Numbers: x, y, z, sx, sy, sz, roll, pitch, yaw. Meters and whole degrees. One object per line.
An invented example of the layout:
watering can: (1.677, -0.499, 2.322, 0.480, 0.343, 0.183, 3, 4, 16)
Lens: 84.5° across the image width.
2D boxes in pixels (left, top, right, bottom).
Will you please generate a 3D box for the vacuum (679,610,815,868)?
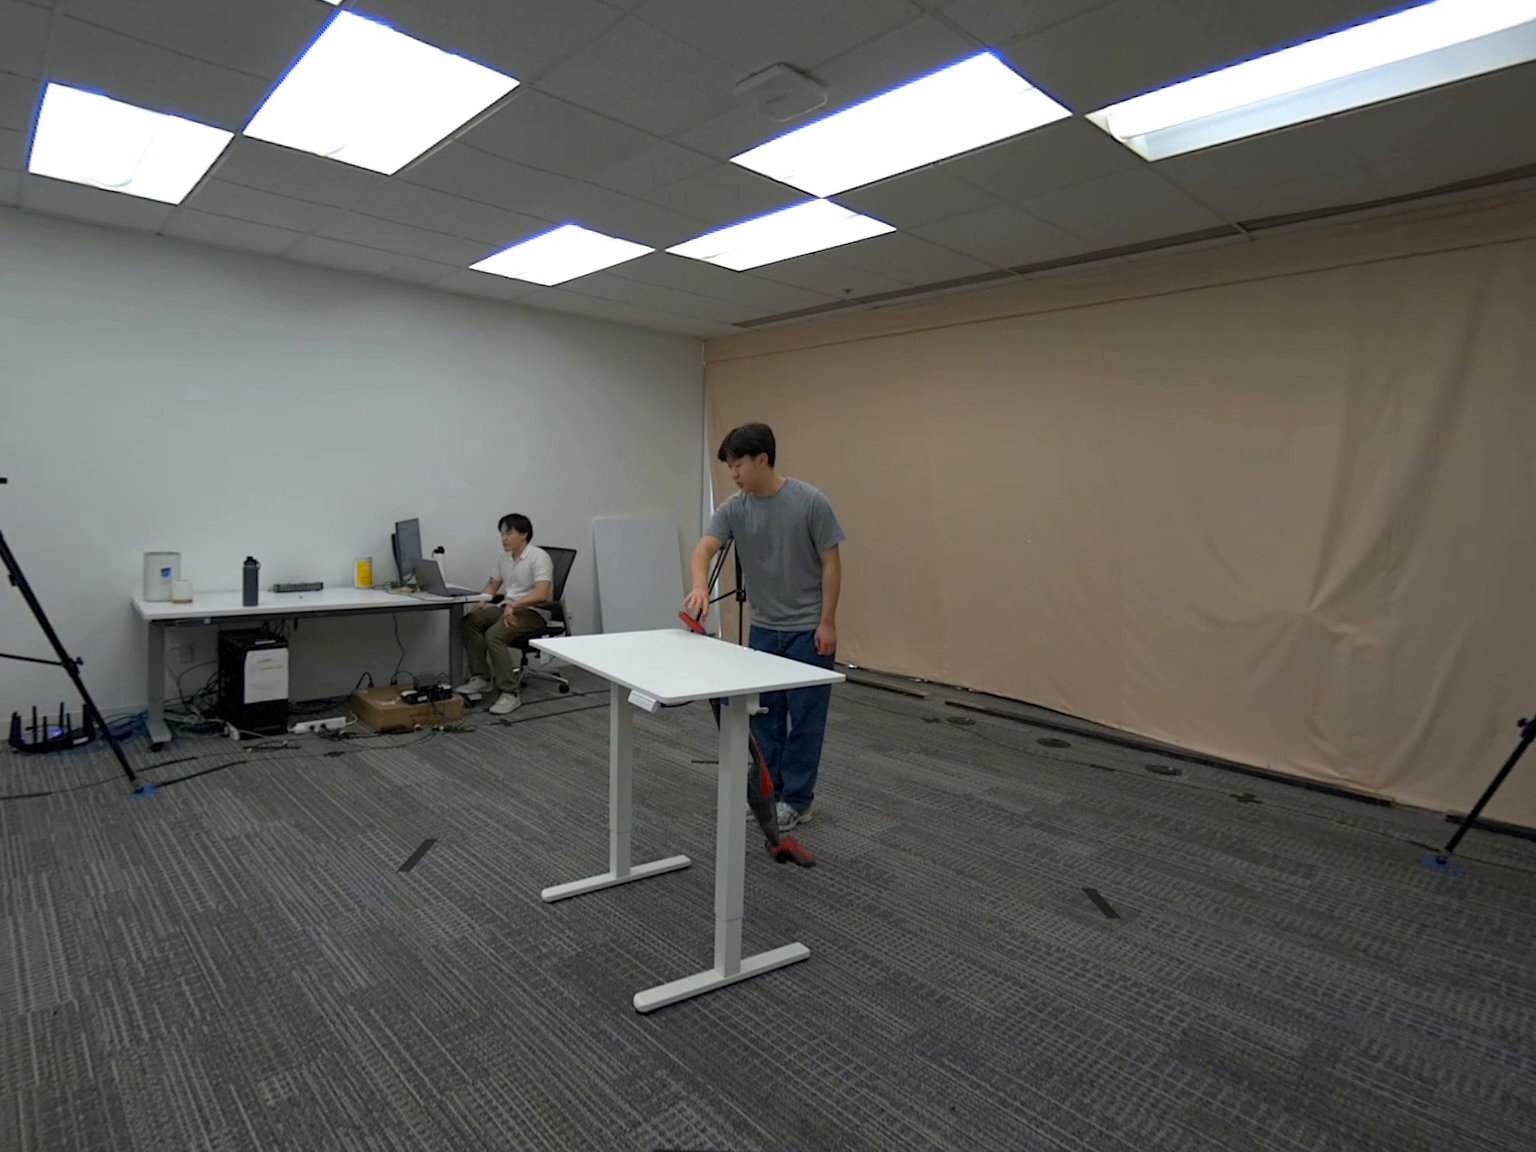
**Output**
vacuum: (-0.130, 0.622, 3.222, 0.142, 1.042, 0.256, -27, 7, -28)
